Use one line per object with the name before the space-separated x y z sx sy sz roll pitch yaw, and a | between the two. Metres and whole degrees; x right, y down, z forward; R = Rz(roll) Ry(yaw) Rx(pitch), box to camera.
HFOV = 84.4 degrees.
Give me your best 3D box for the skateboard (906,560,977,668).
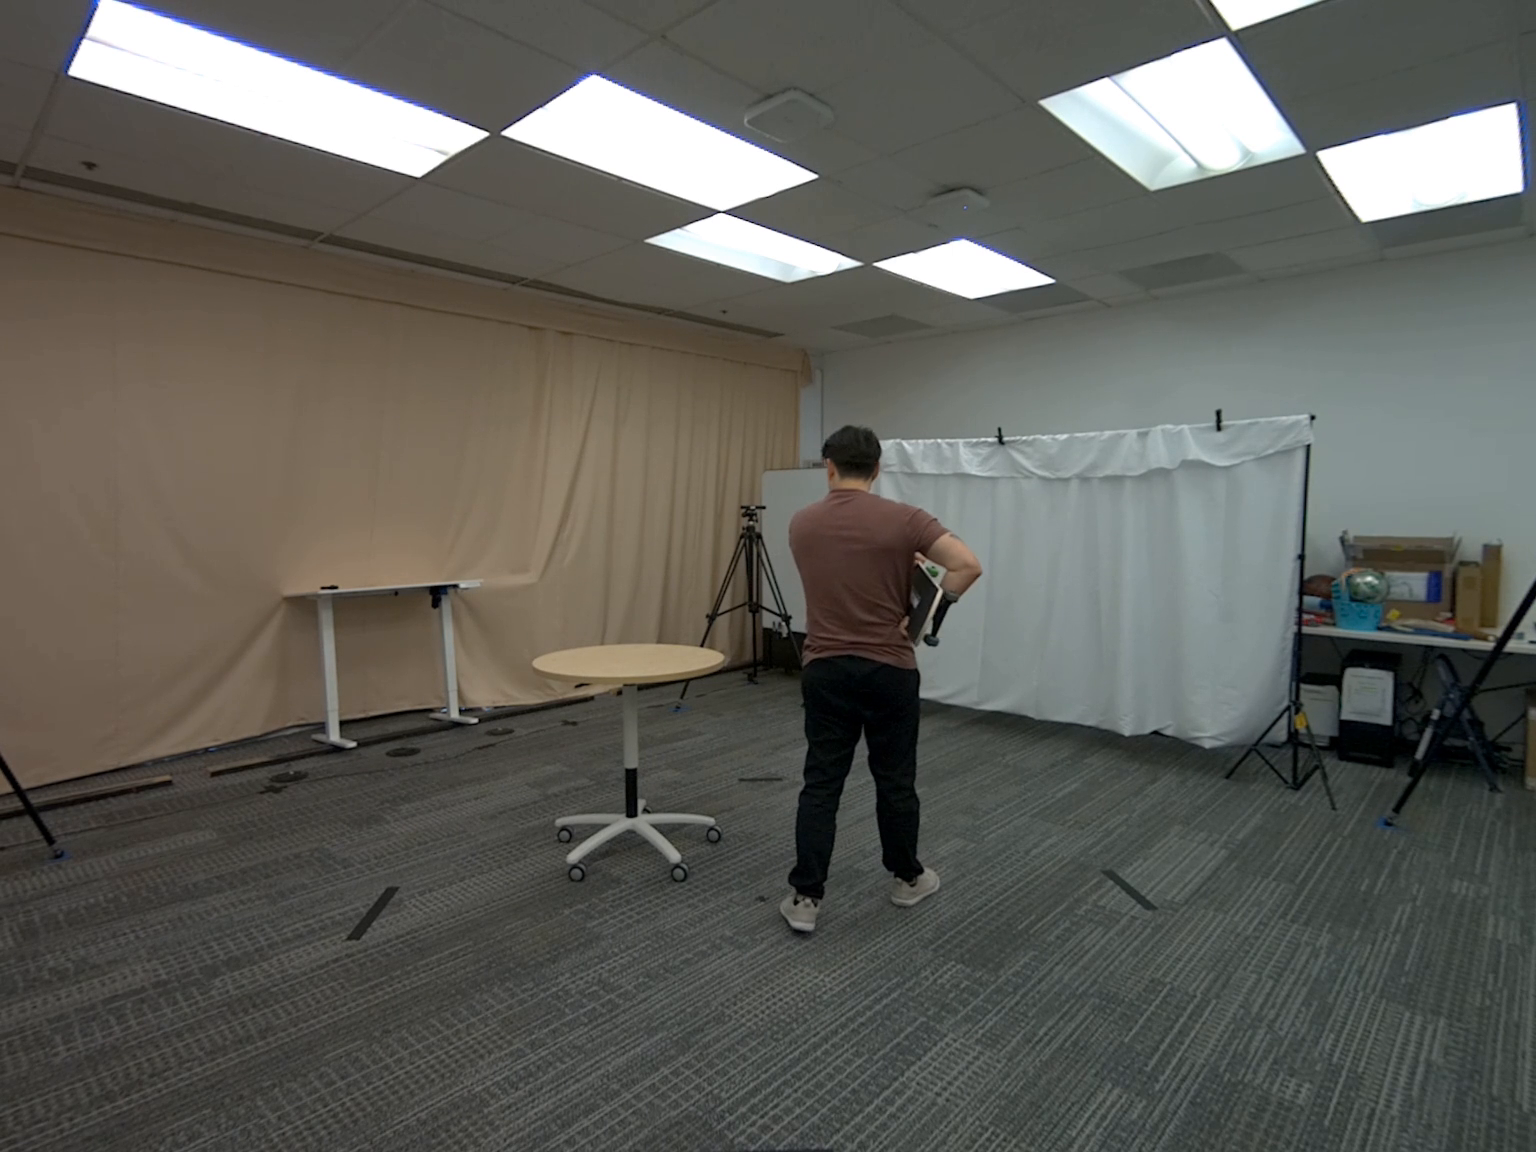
skateboard | 0.526 0.080 2.846 0.110 0.193 0.788 19 11 -2
